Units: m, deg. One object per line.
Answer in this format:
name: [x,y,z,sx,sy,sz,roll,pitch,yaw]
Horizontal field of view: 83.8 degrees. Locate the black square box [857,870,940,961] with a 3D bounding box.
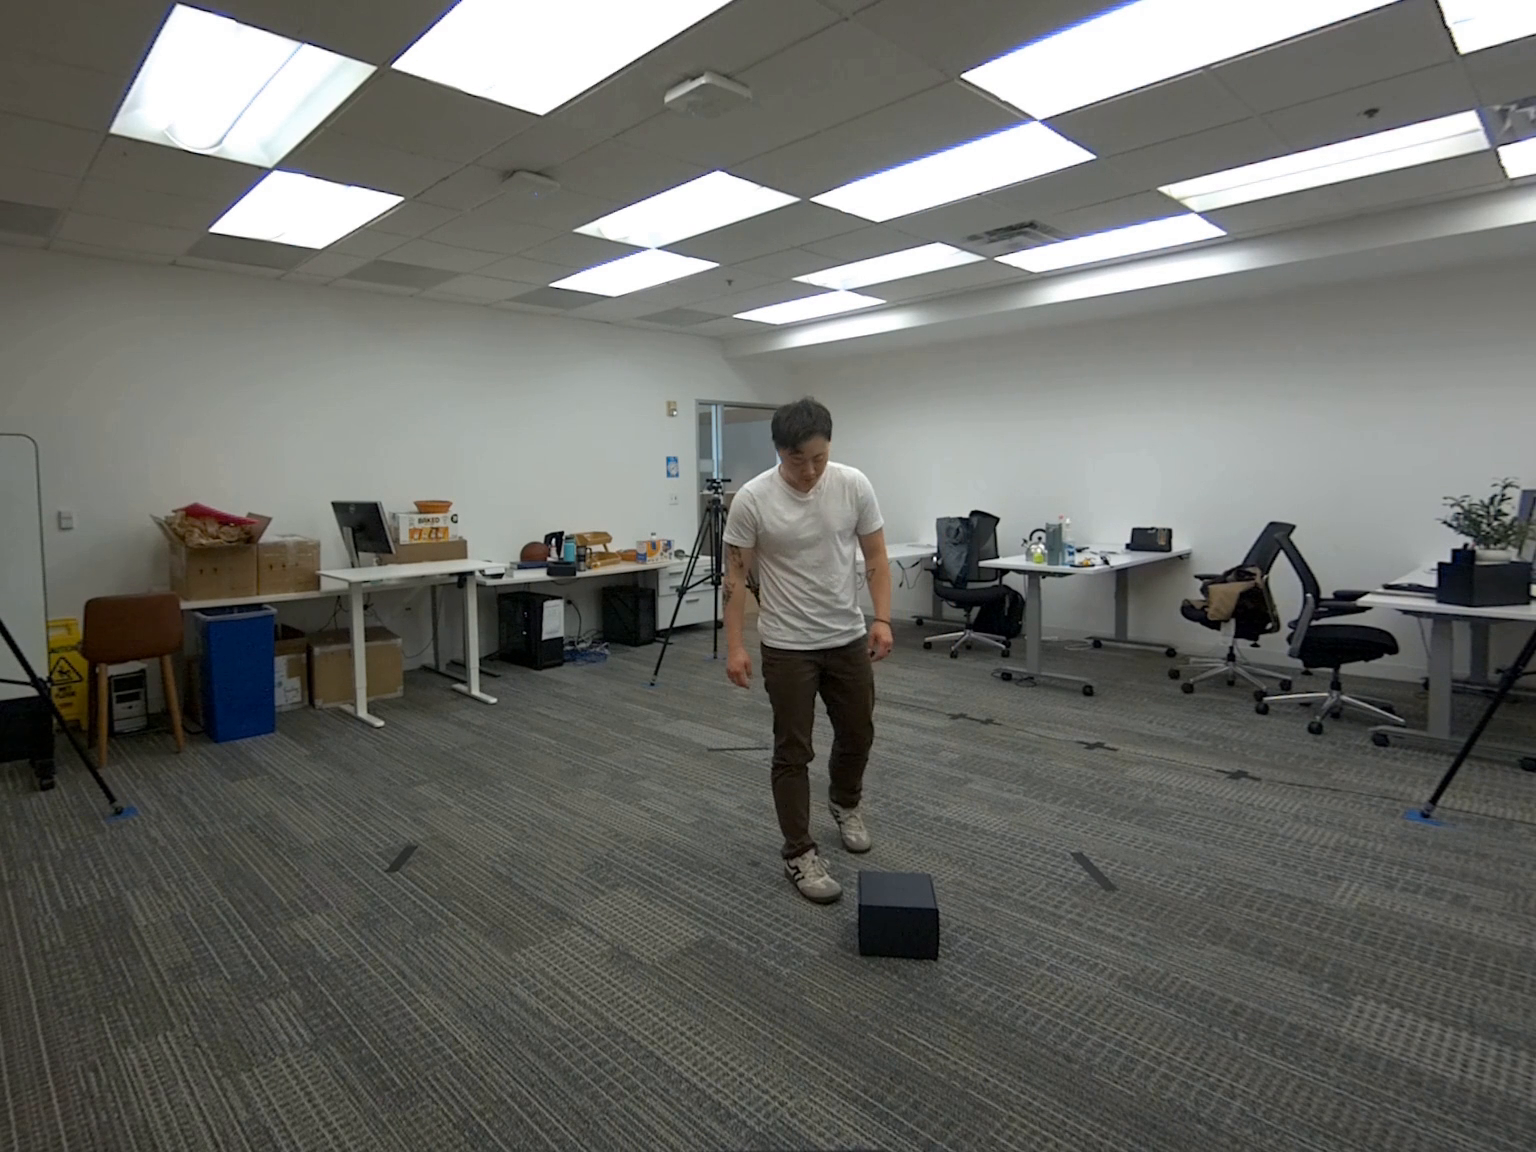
black square box: [0.392,1.015,2.573,0.230,0.155,0.216,-1,6,7]
